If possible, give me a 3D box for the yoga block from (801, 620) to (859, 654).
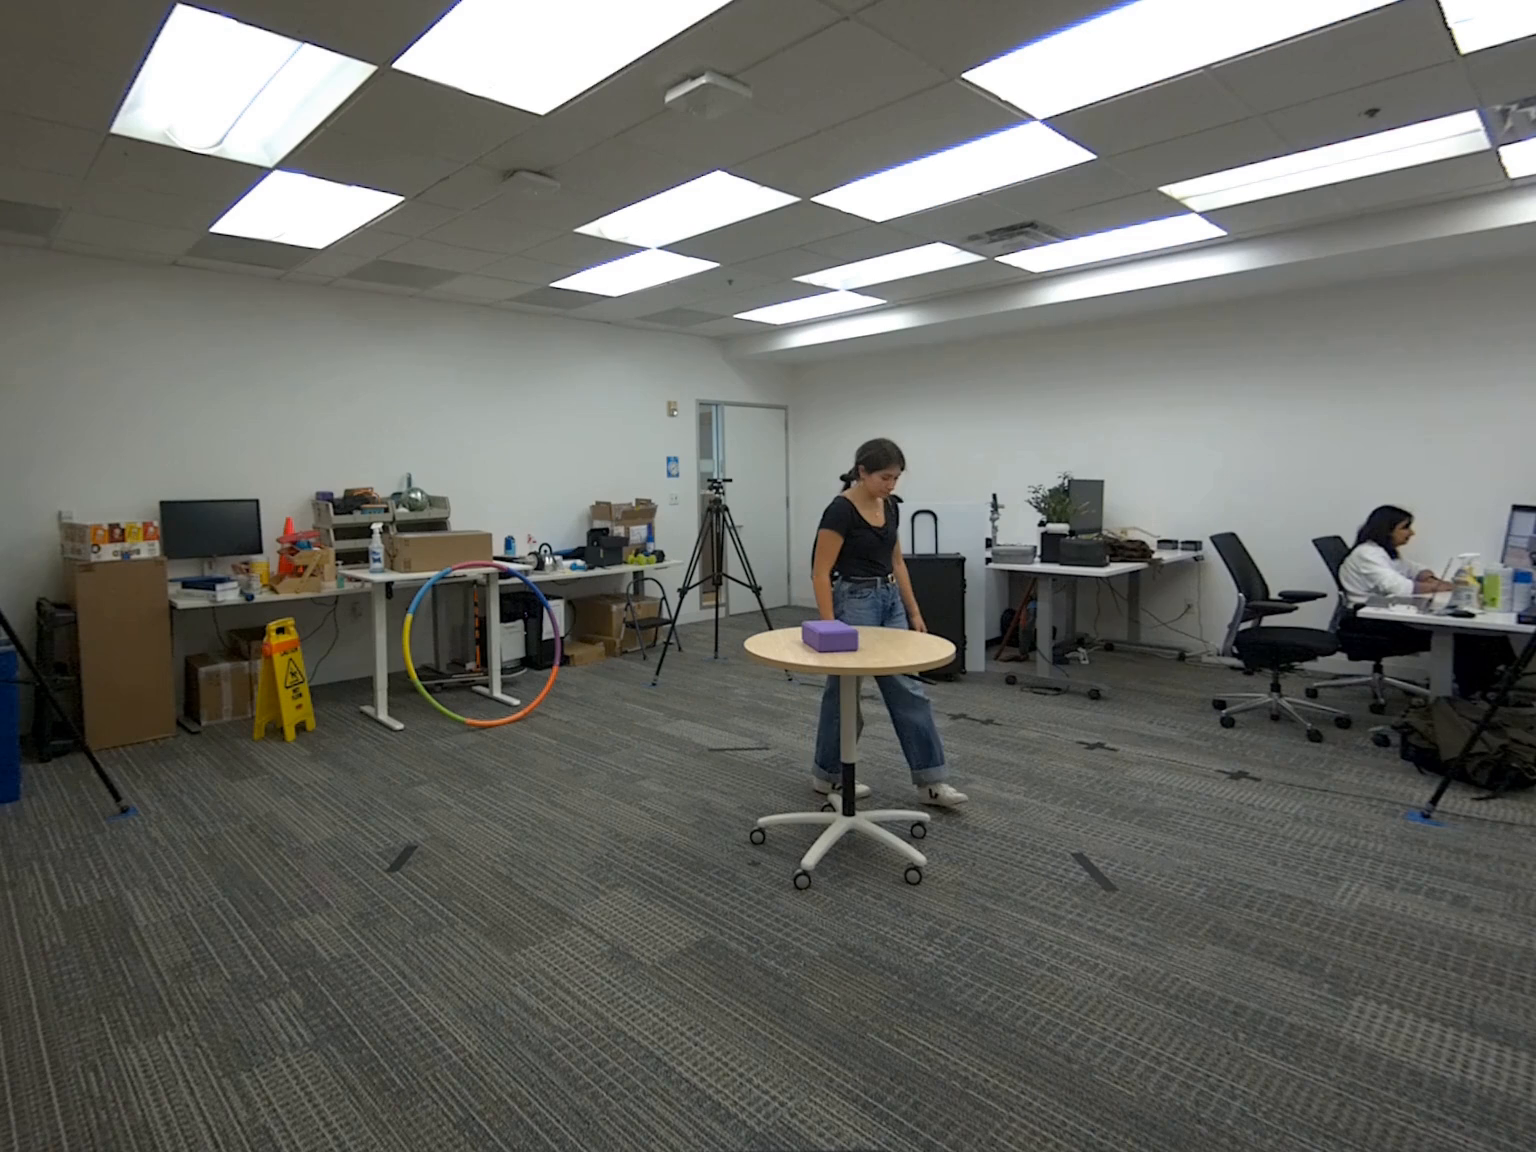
[{"bbox_3d":[0.229,0.220,3.106,0.147,0.076,0.232,-2,6,-11],"label":"yoga block"}]
